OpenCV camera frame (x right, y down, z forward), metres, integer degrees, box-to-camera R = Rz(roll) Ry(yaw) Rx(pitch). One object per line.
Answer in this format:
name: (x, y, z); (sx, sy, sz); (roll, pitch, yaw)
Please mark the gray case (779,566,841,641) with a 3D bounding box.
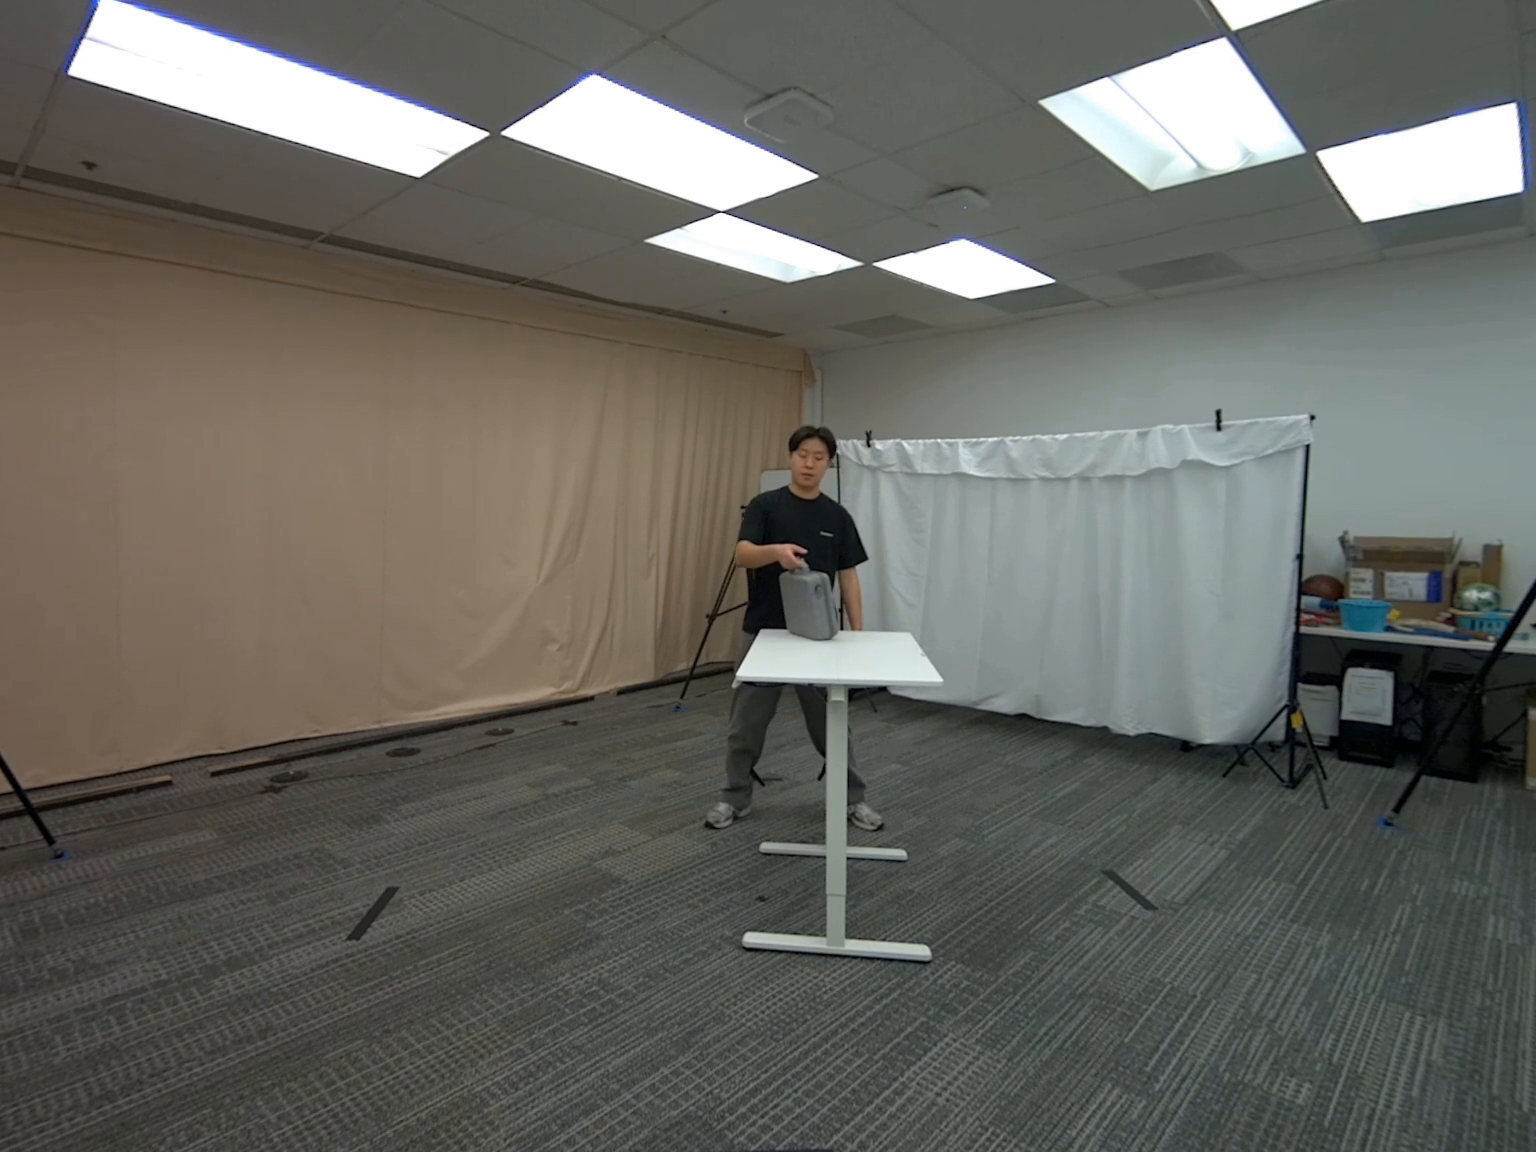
gray case: (0.151, 0.097, 3.259); (0.101, 0.285, 0.270); (-12, 8, -22)
